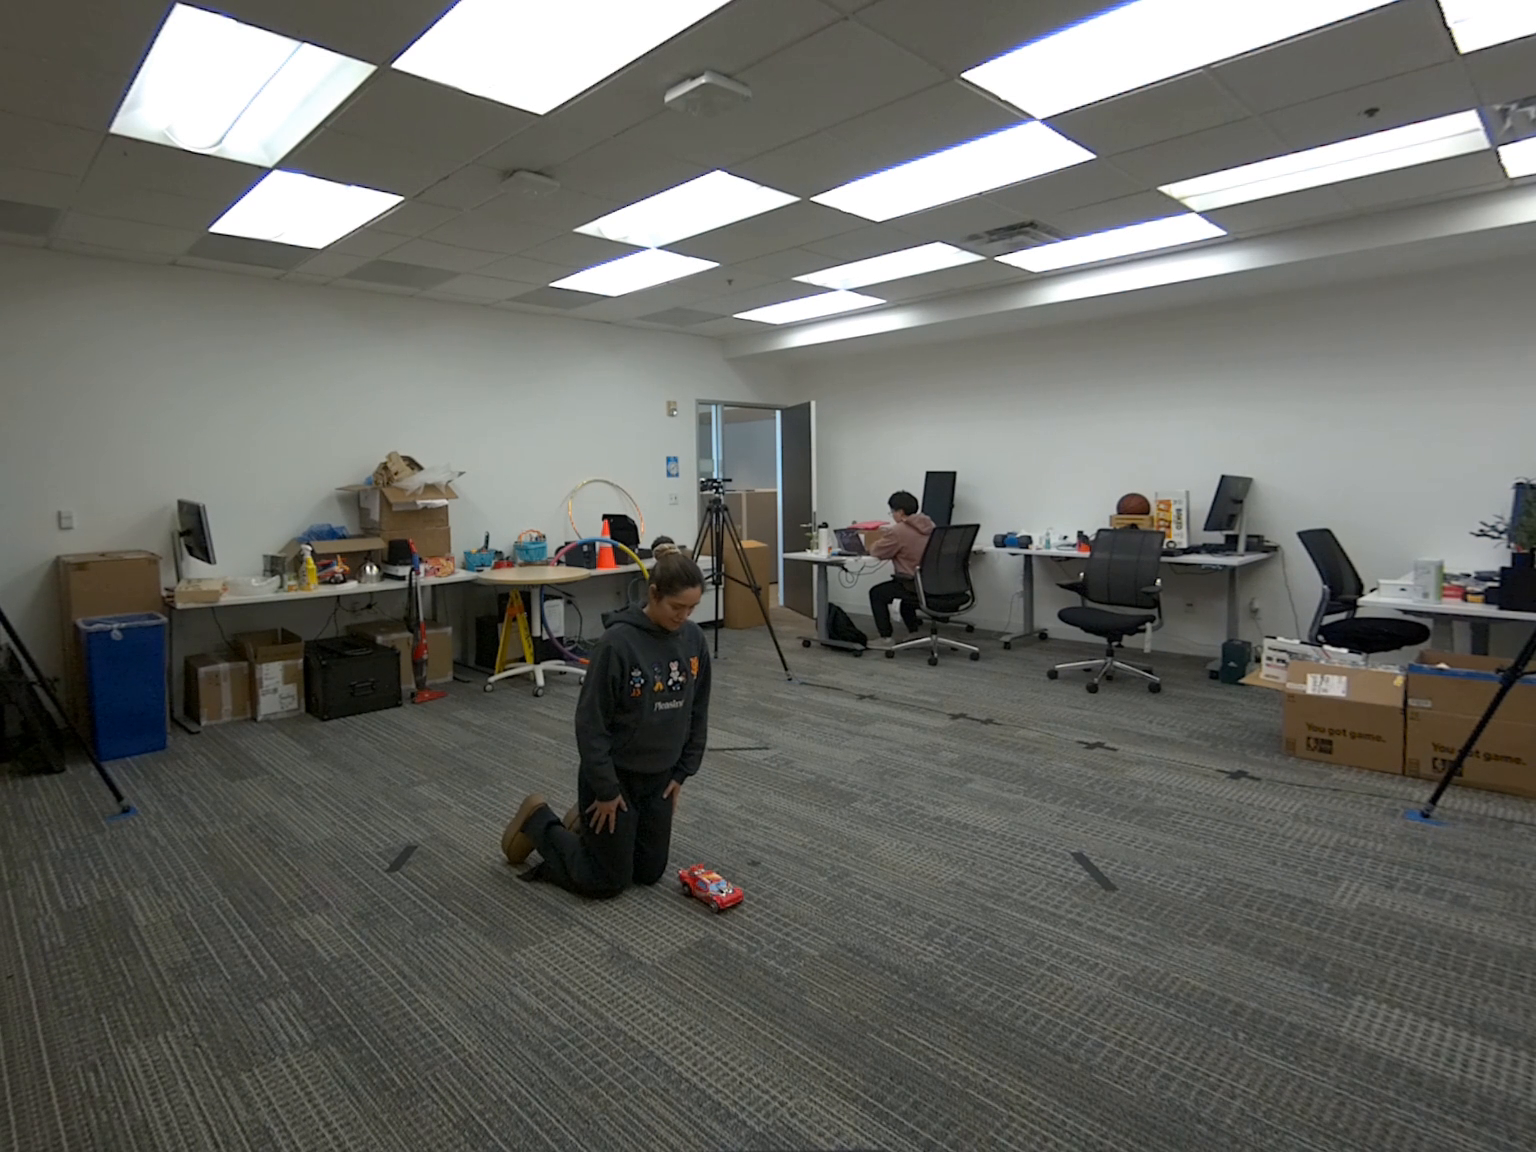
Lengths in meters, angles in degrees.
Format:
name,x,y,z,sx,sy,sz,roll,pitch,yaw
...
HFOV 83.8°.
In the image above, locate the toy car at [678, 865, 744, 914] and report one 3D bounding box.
name,x,y,z,sx,sy,sz,roll,pitch,yaw
toy car,-0.199,1.043,2.838,0.127,0.082,0.264,-6,19,-40
